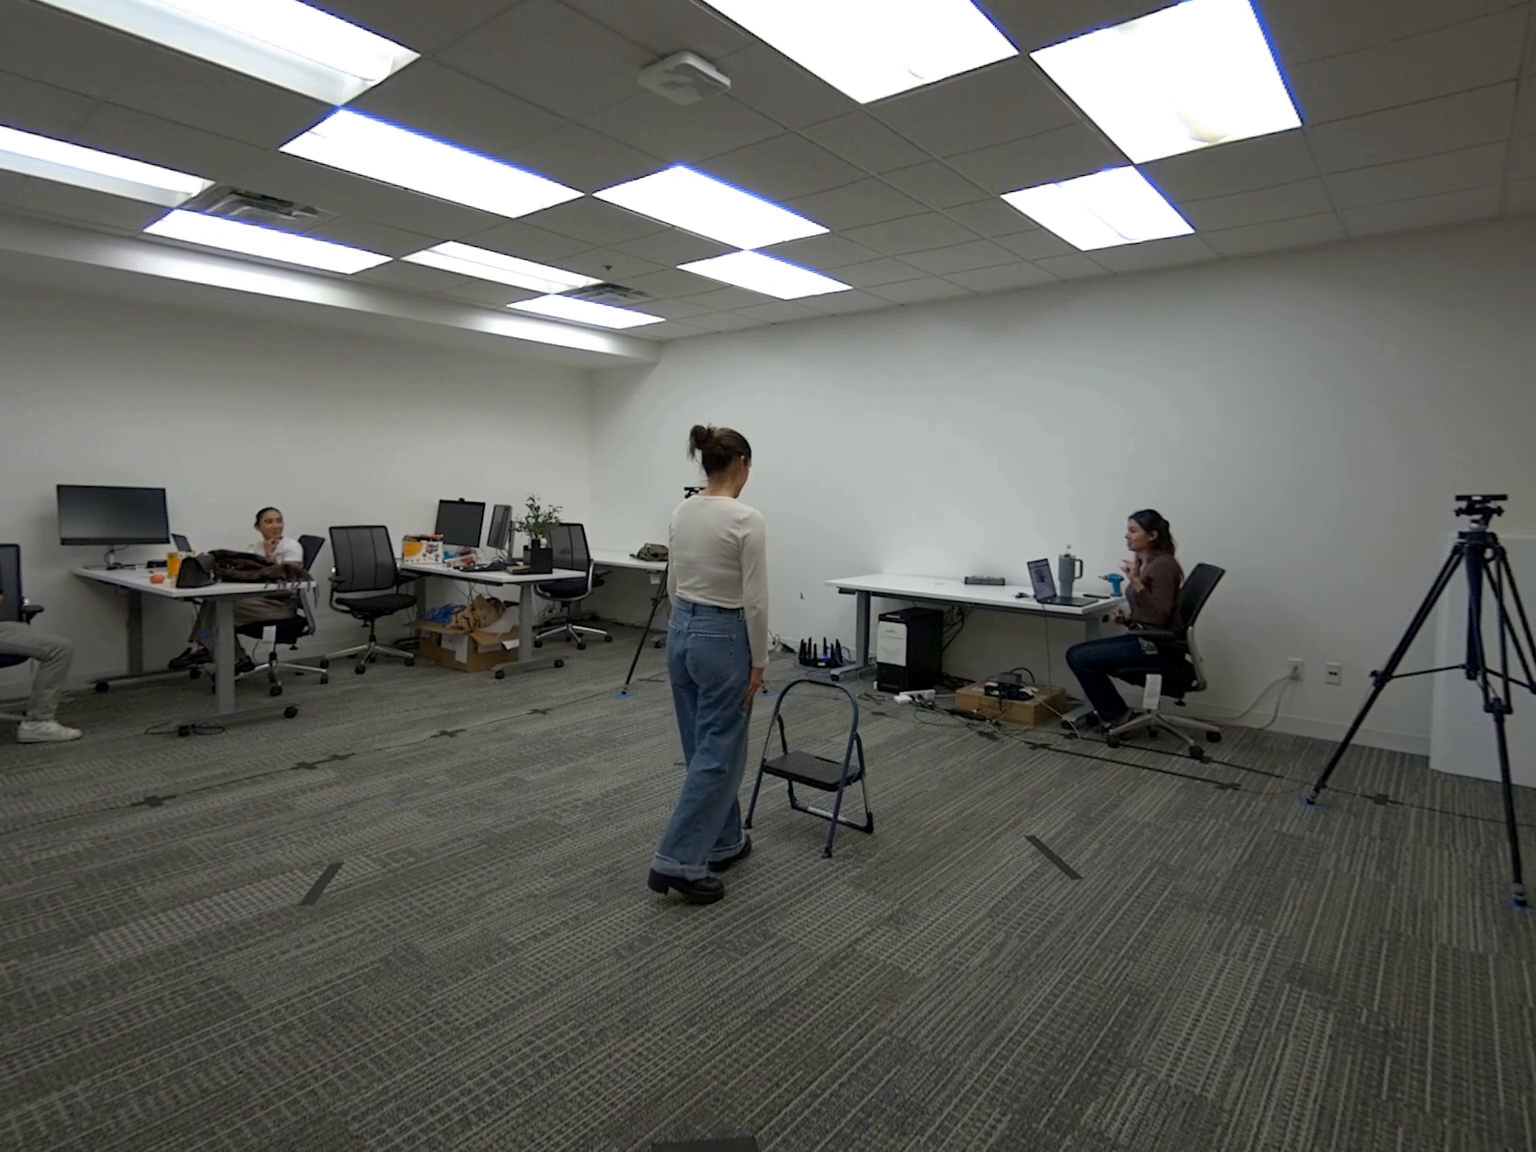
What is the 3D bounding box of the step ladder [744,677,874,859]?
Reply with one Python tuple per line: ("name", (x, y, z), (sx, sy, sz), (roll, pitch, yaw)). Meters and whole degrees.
("step ladder", (0.166, 0.735, 3.463), (0.445, 0.604, 0.339), (4, 5, 39))
